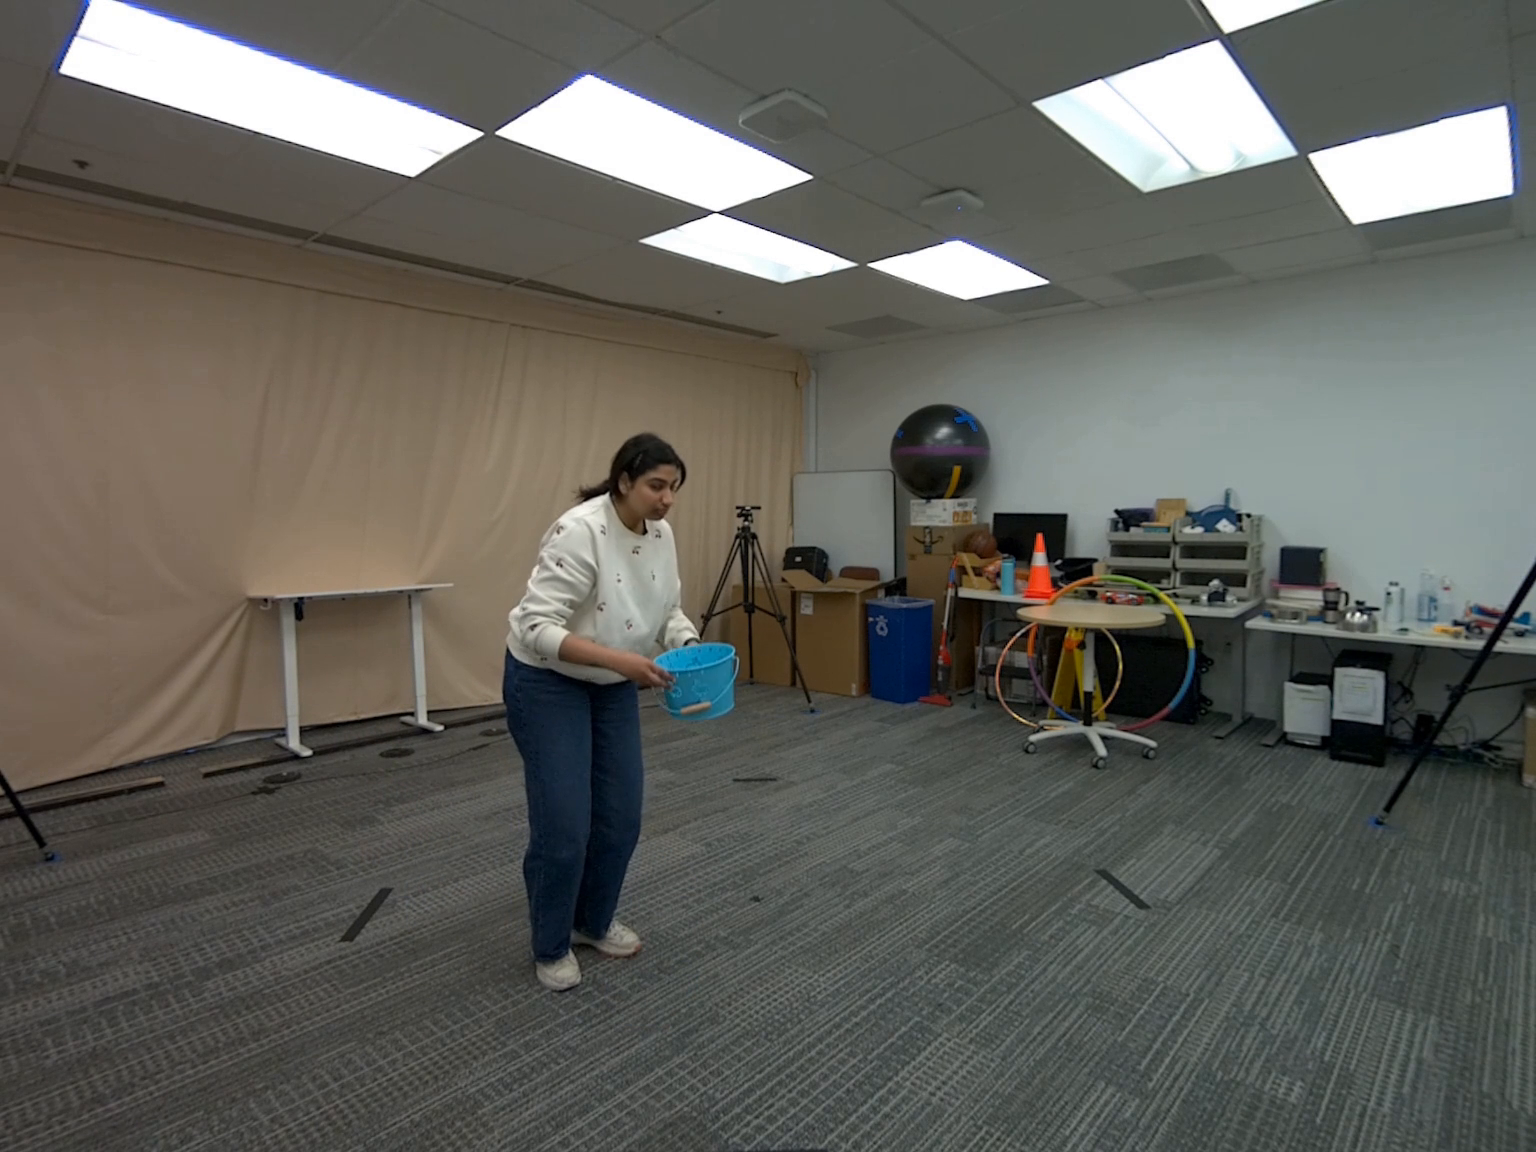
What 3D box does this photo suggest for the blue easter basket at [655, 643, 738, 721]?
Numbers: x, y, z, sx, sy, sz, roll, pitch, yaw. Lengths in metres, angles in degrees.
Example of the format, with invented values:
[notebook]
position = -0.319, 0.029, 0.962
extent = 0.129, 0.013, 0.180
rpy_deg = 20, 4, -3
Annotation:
[blue easter basket]
position = -0.201, 0.302, 2.310
extent = 0.243, 0.155, 0.245
rpy_deg = -6, 9, -1
